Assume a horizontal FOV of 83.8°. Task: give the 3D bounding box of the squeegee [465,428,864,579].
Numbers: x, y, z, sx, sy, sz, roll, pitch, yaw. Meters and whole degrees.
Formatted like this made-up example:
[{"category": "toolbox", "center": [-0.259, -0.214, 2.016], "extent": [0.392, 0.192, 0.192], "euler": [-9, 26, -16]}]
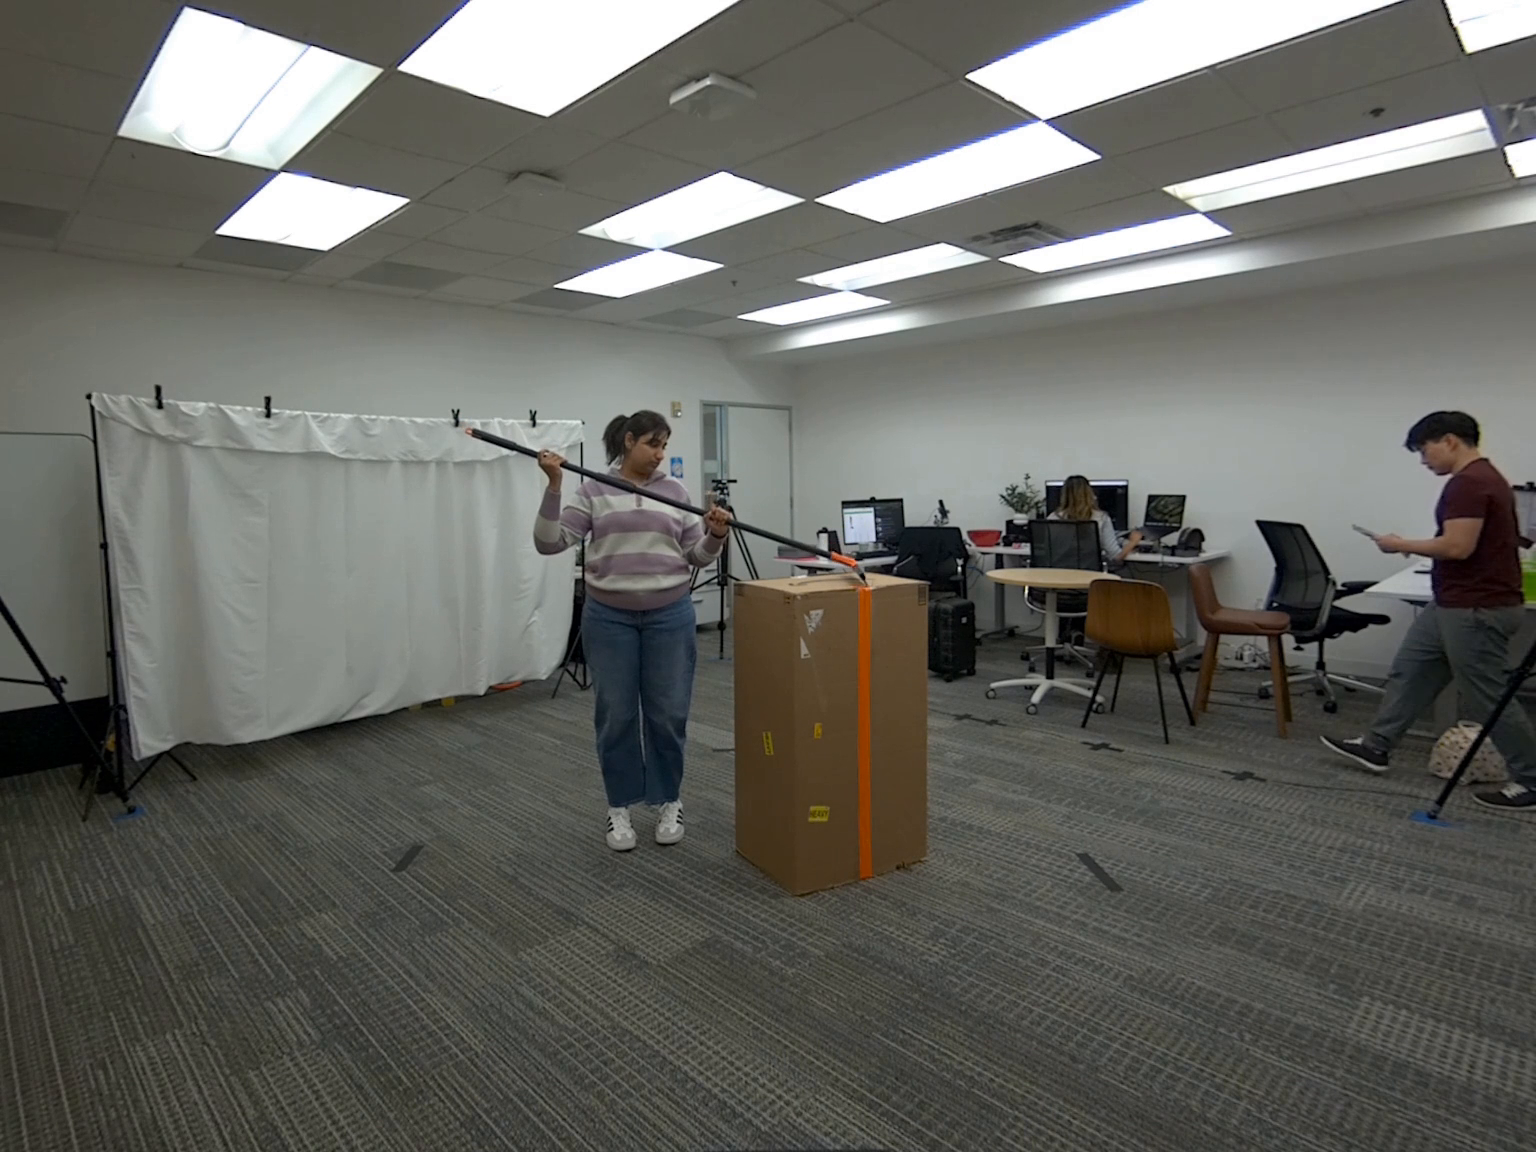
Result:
[{"category": "squeegee", "center": [-0.394, -0.286, 3.133], "extent": [1.535, 0.053, 0.439], "euler": [21, 5, -2]}]
